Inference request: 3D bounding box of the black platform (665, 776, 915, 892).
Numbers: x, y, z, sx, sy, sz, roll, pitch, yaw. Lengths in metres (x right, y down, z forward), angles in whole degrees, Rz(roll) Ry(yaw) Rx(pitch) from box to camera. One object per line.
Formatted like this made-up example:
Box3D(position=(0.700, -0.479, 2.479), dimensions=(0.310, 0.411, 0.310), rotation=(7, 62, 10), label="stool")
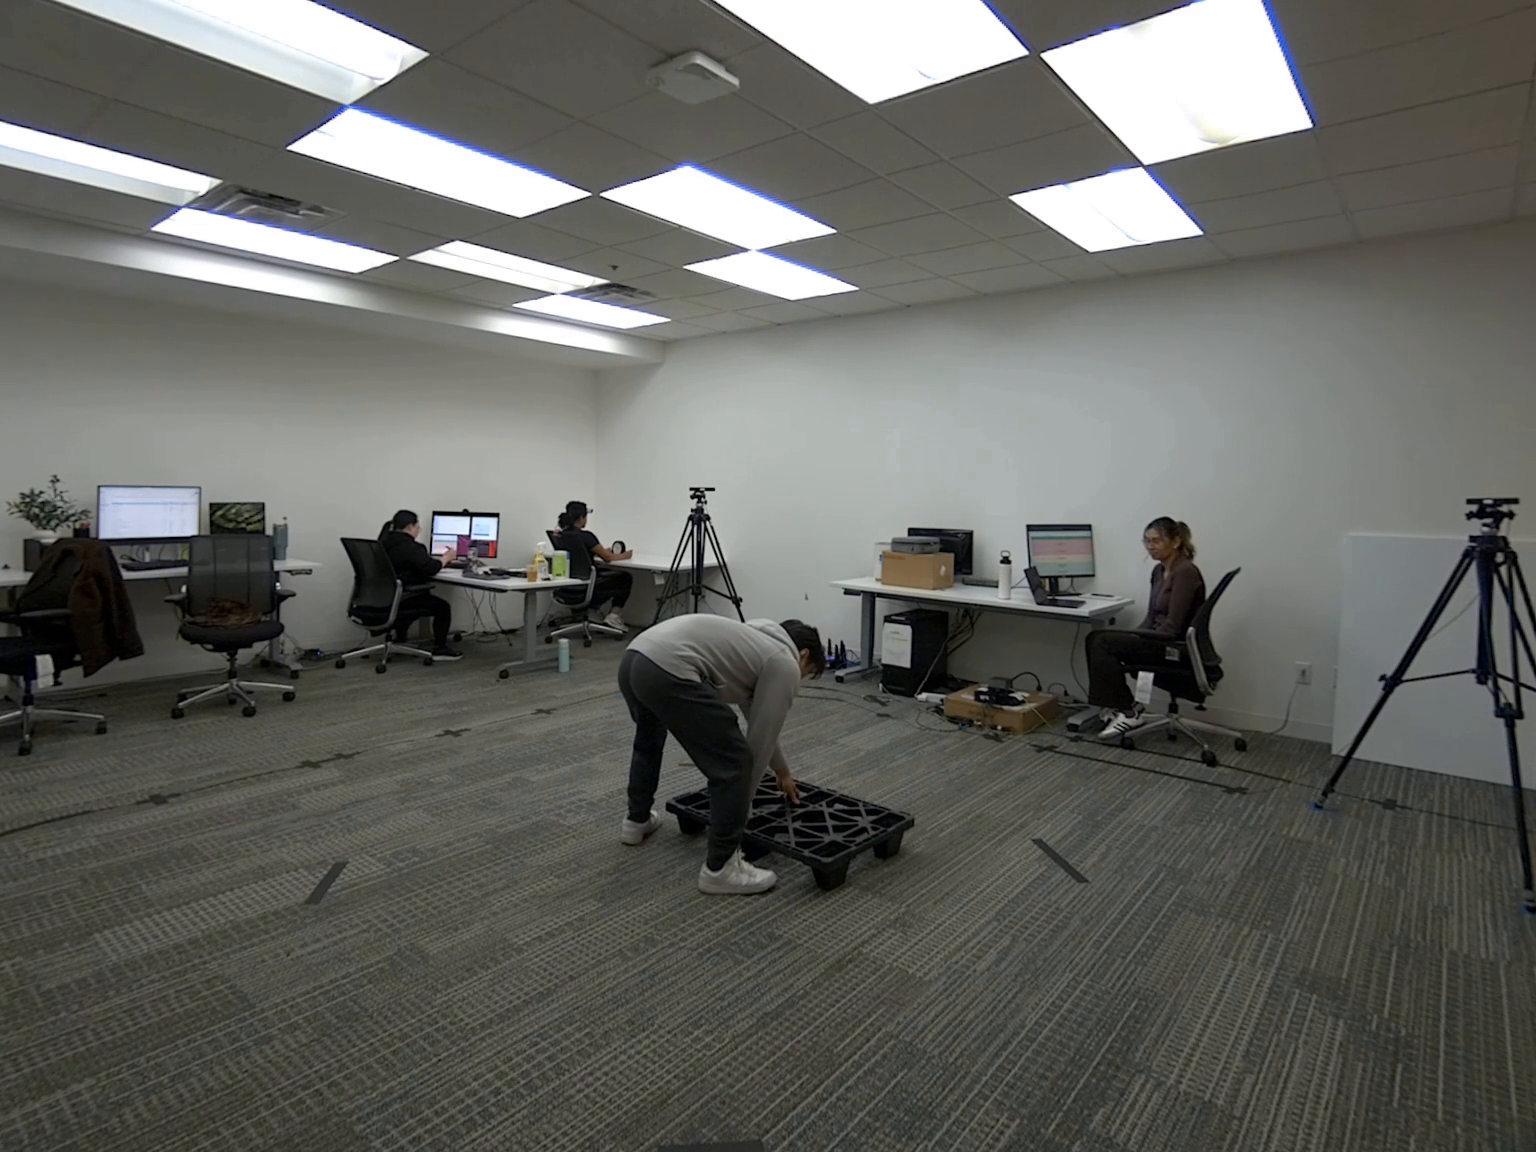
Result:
Box3D(position=(0.072, 0.981, 3.368), dimensions=(0.833, 0.143, 0.587), rotation=(6, 7, 41), label="black platform")
